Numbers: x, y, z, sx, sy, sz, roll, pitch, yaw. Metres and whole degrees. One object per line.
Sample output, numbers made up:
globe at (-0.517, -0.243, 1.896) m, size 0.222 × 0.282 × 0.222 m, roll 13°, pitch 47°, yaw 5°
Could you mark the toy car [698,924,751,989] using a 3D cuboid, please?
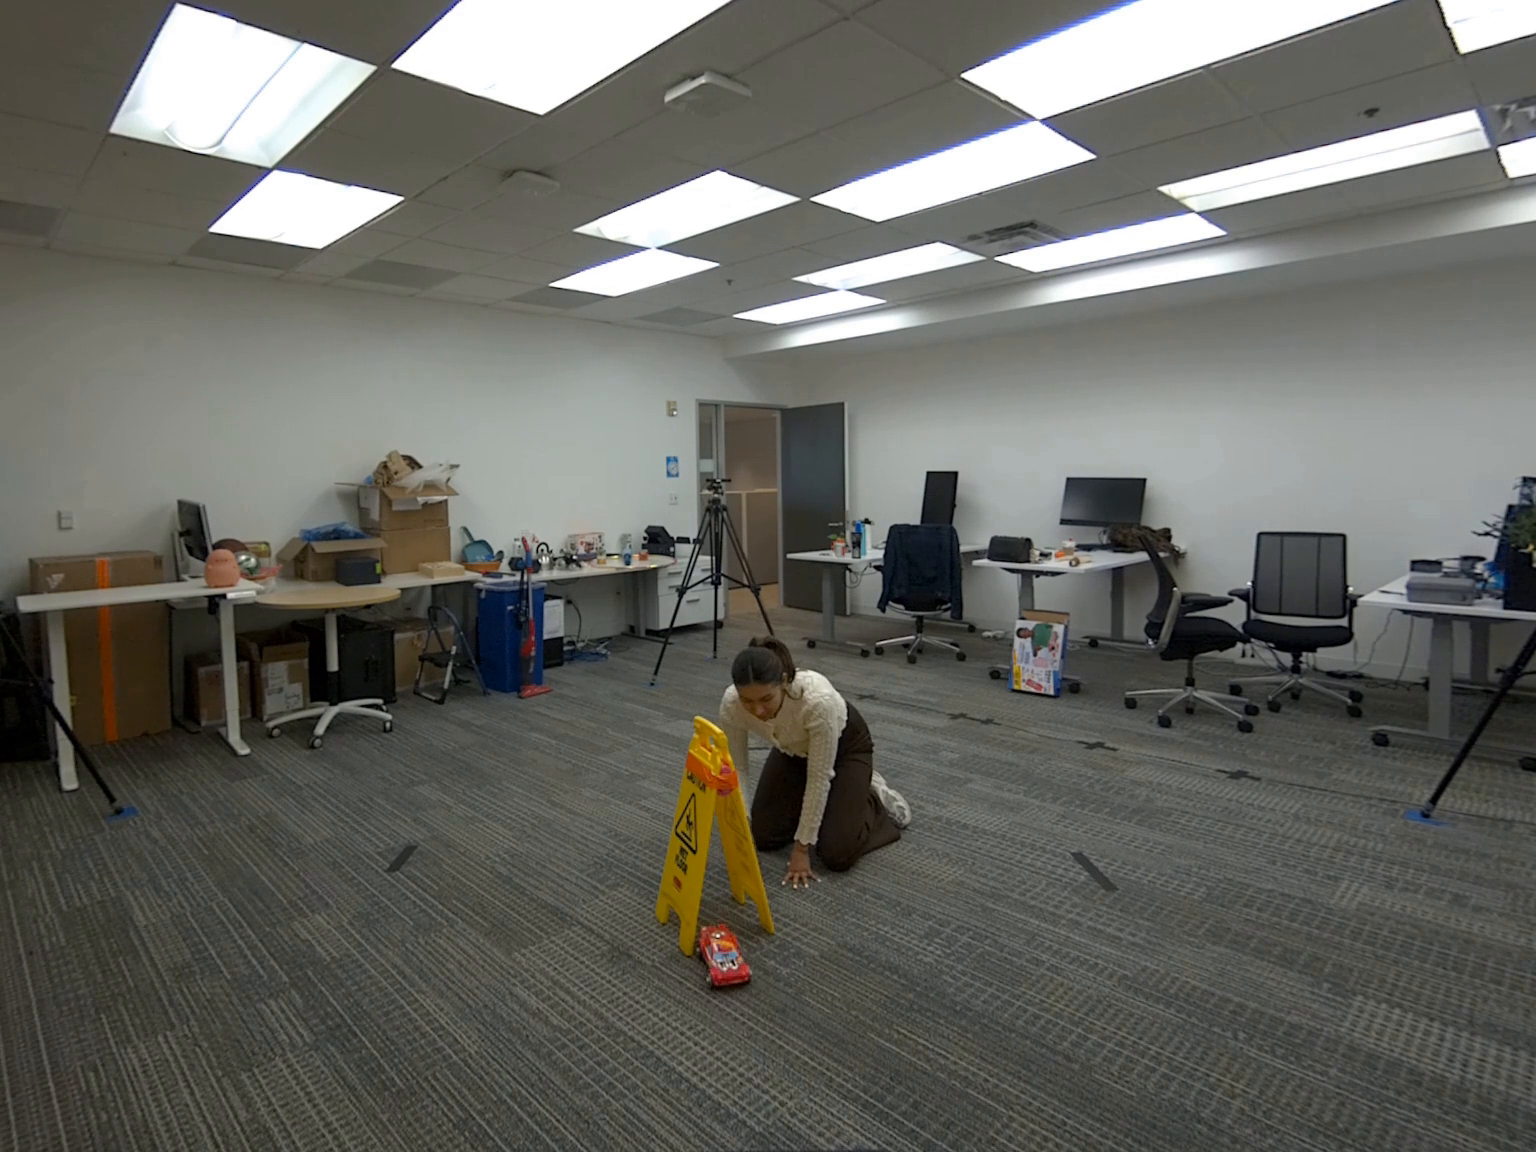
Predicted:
toy car at (-0.131, 1.093, 2.459) m, size 0.129 × 0.082 × 0.261 m, roll -5°, pitch 16°, yaw -14°
